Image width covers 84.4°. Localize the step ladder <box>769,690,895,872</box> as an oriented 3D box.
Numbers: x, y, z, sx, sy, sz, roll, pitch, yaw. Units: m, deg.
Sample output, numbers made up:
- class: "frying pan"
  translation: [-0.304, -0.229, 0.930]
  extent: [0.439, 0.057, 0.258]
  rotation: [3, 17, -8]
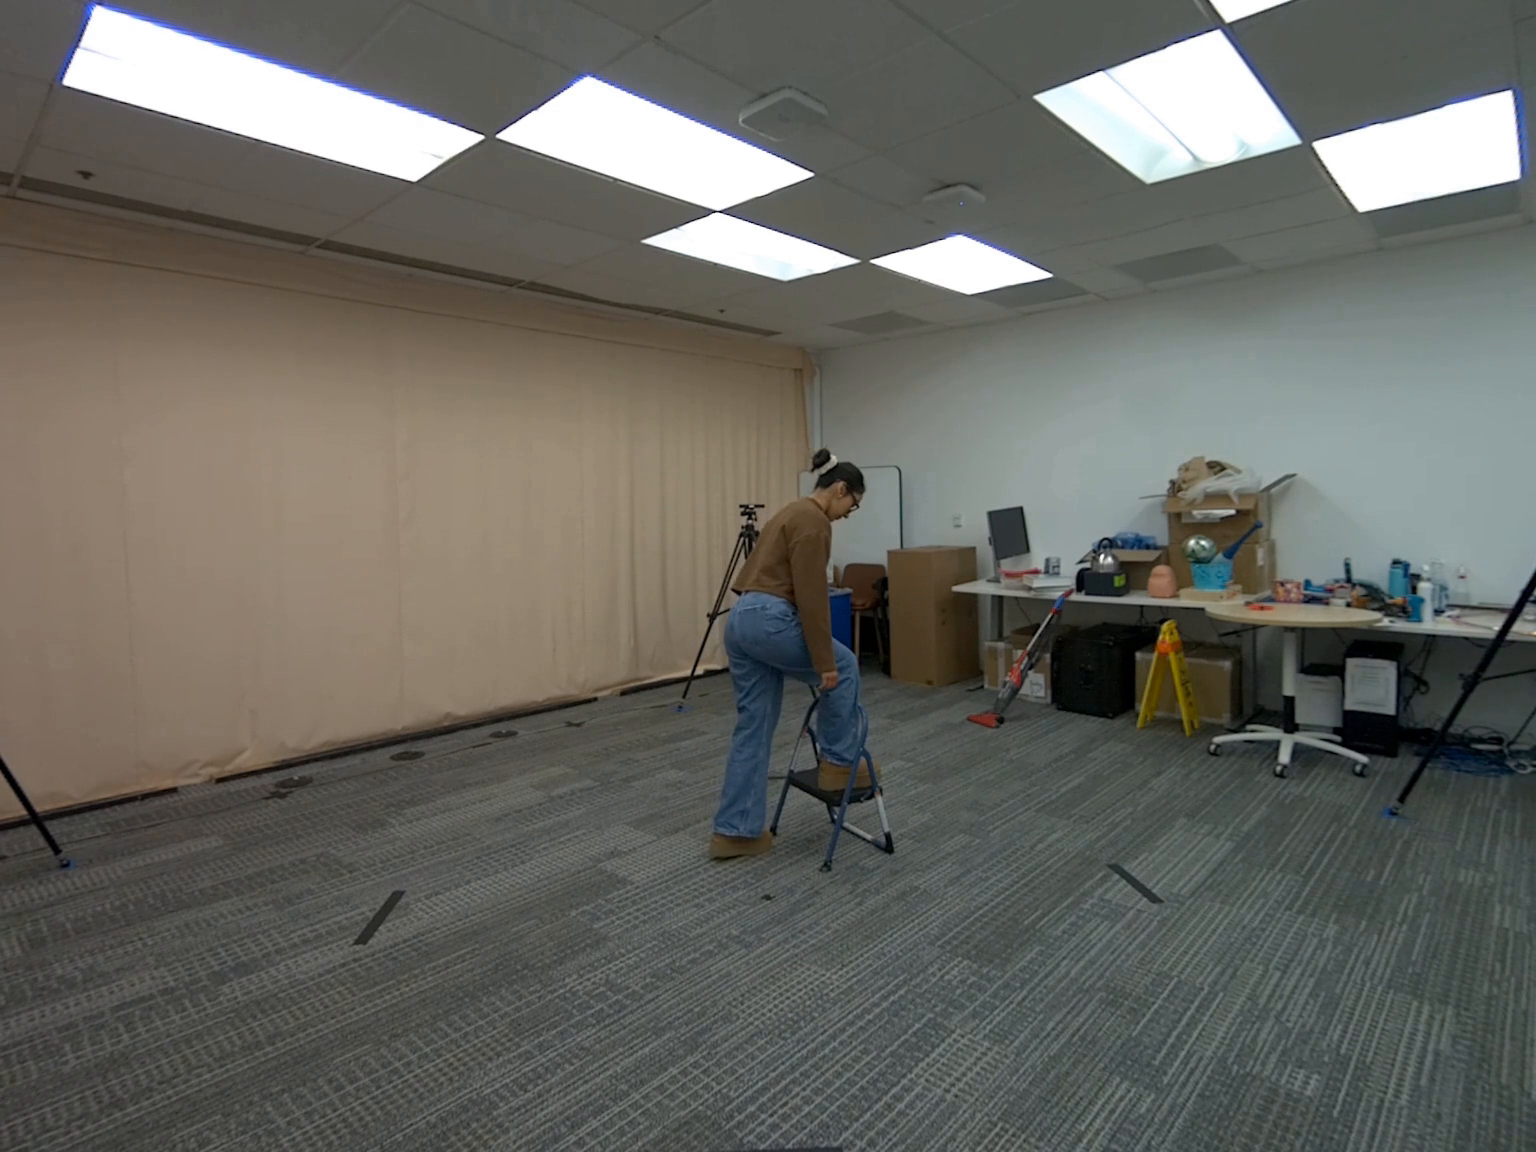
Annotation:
- class: "step ladder"
  translation: [0.251, 0.795, 3.429]
  extent: [0.340, 0.605, 0.443]
  rotation: [-2, 3, -30]
